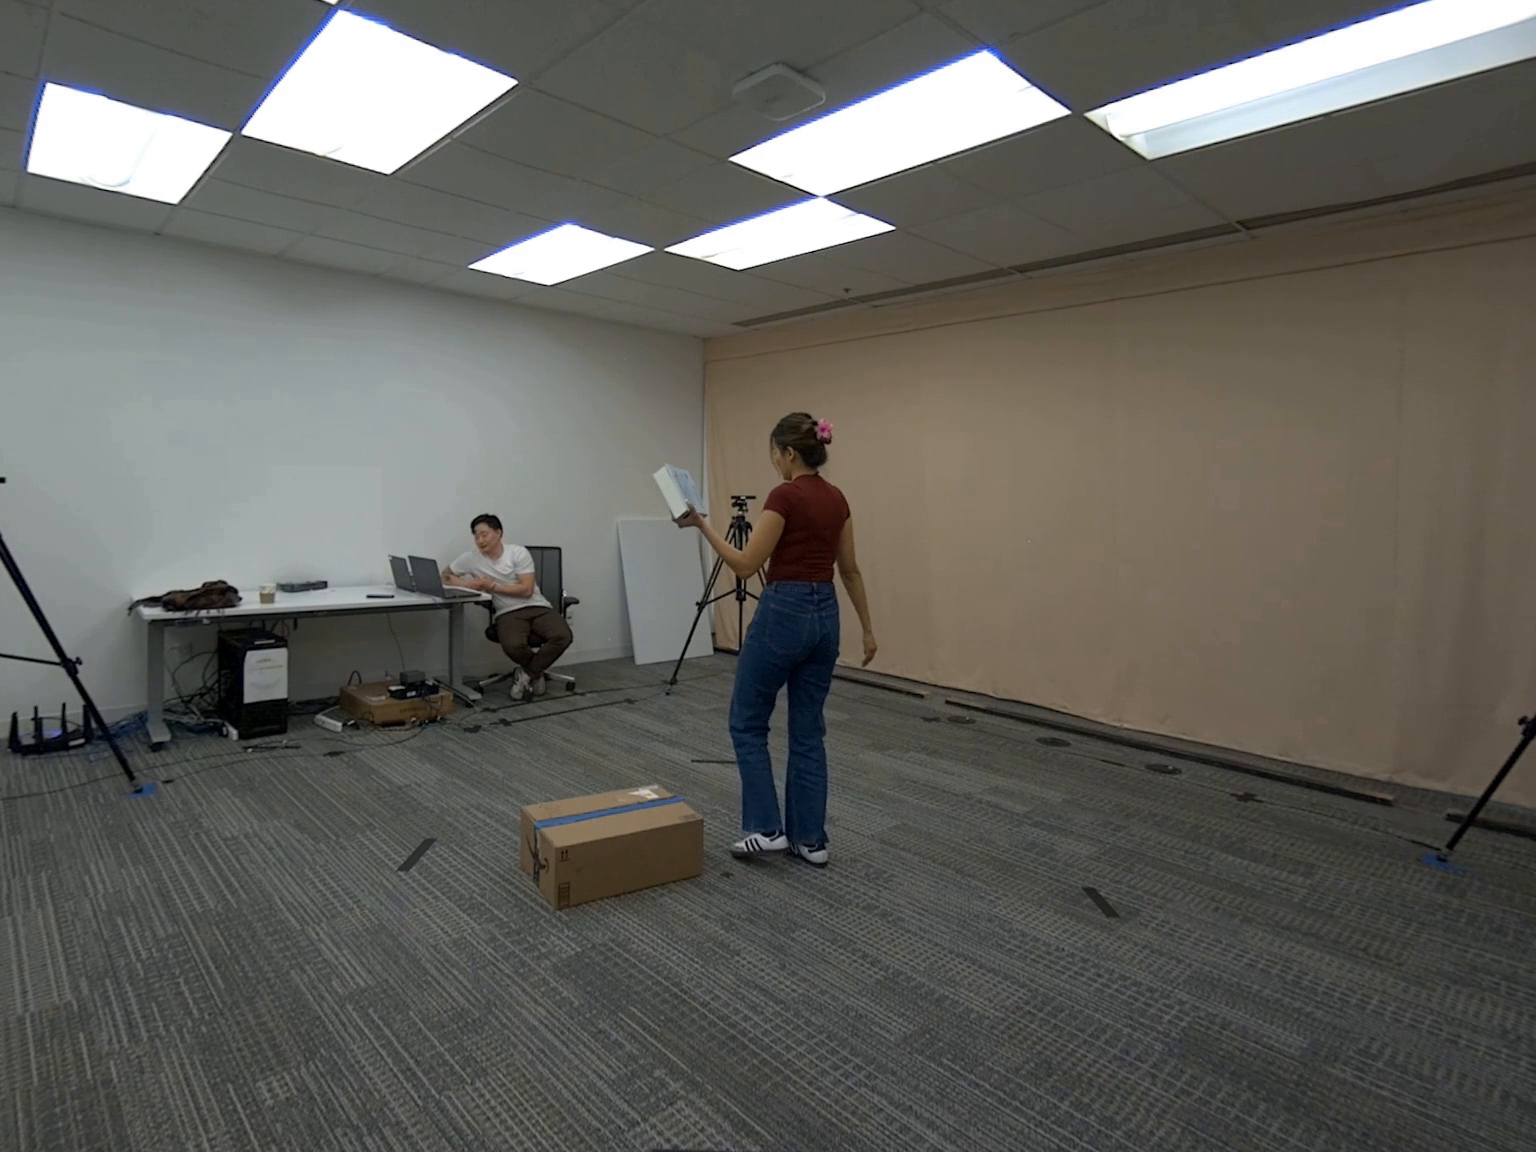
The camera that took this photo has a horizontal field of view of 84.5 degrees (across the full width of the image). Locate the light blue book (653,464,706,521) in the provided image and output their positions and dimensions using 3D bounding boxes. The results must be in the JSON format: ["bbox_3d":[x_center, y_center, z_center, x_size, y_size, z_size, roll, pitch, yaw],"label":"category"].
[{"bbox_3d":[-0.332,-0.300,3.114,0.059,0.193,0.258,-28,-7,11],"label":"light blue book"}]
